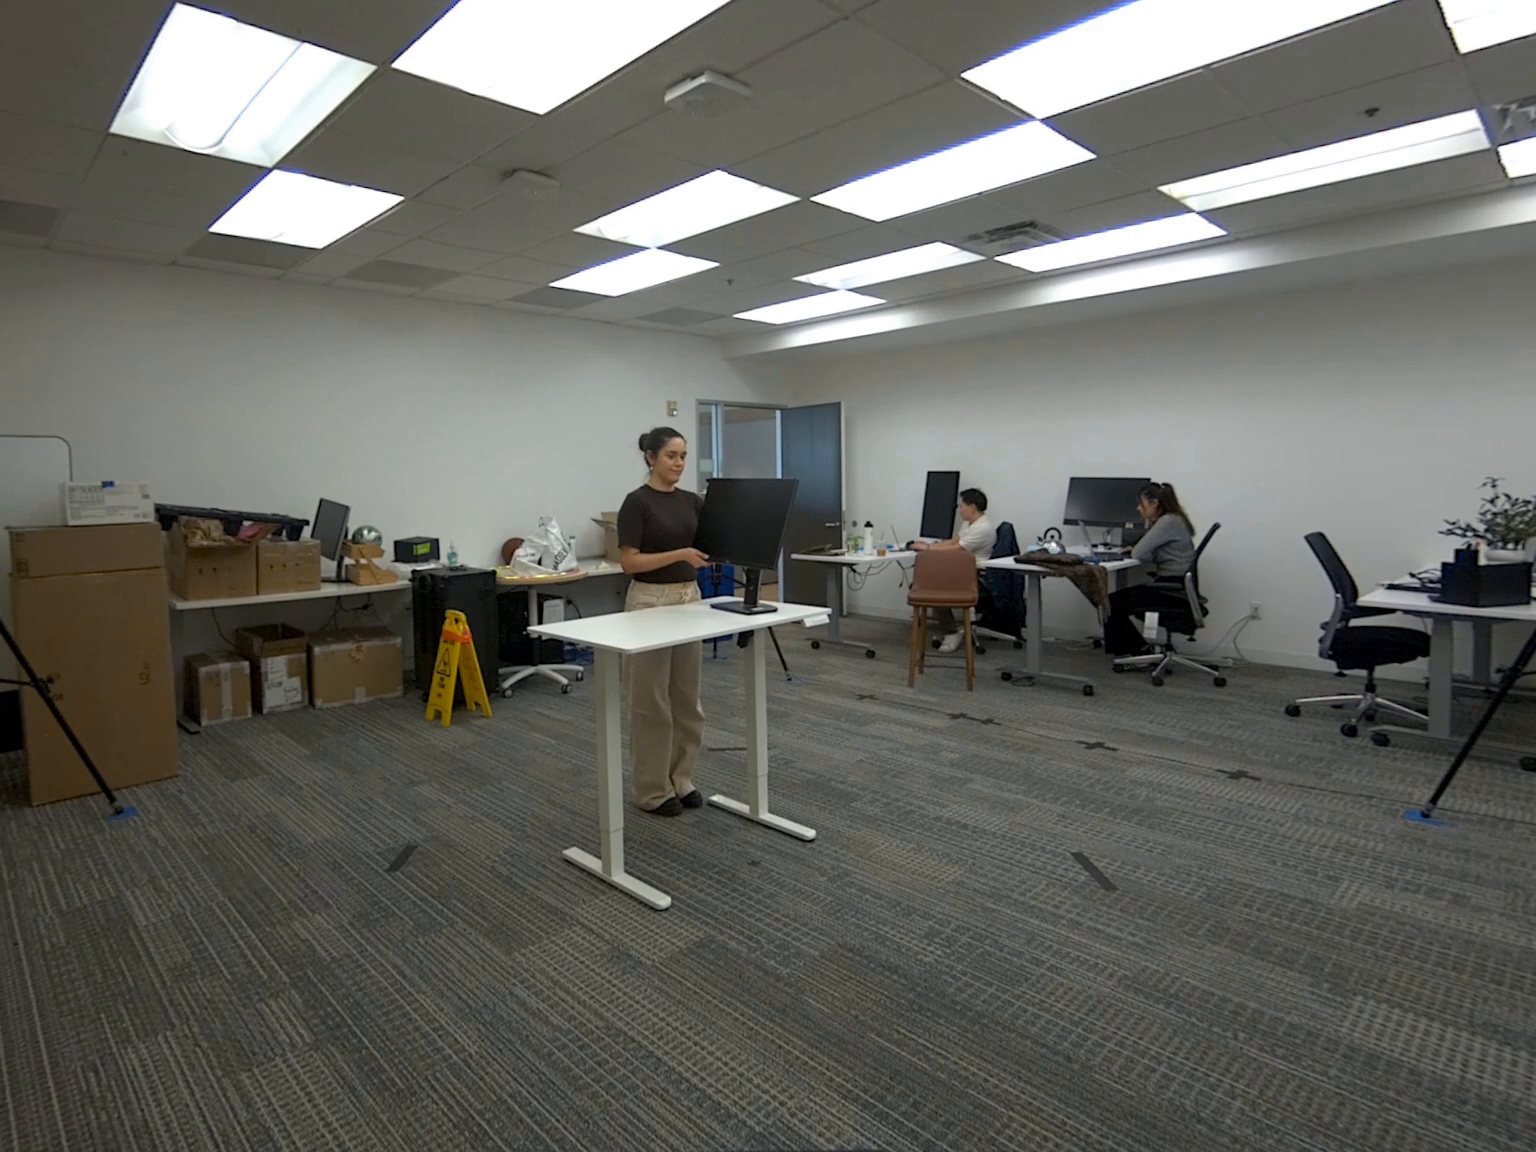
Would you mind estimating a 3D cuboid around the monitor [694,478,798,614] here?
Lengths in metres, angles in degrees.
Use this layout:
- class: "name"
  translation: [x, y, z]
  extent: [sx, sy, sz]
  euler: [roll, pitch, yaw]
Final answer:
- class: "monitor"
  translation: [-0.081, -0.123, 3.363]
  extent: [0.182, 0.521, 0.556]
  euler: [2, 4, -39]
